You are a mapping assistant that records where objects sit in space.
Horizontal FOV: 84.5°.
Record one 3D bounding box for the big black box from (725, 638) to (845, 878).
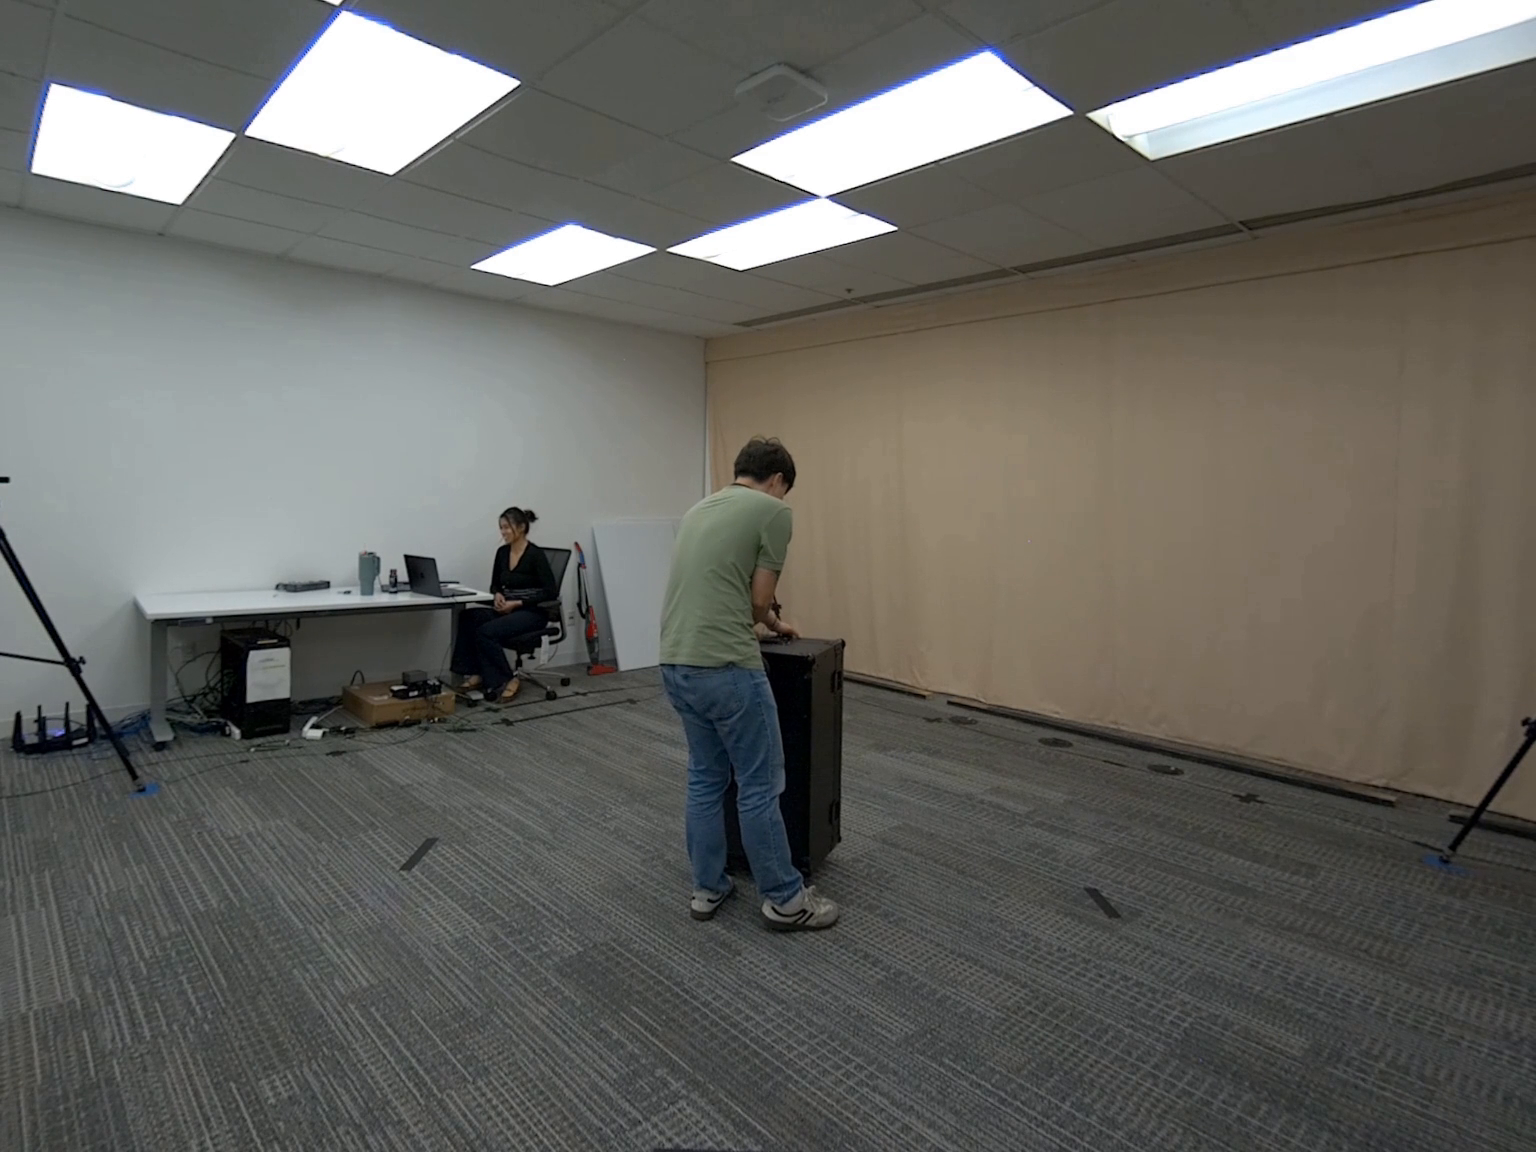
[{"bbox_3d":[-0.007,0.672,3.164,0.531,0.859,0.390,3,5,25],"label":"big black box"}]
